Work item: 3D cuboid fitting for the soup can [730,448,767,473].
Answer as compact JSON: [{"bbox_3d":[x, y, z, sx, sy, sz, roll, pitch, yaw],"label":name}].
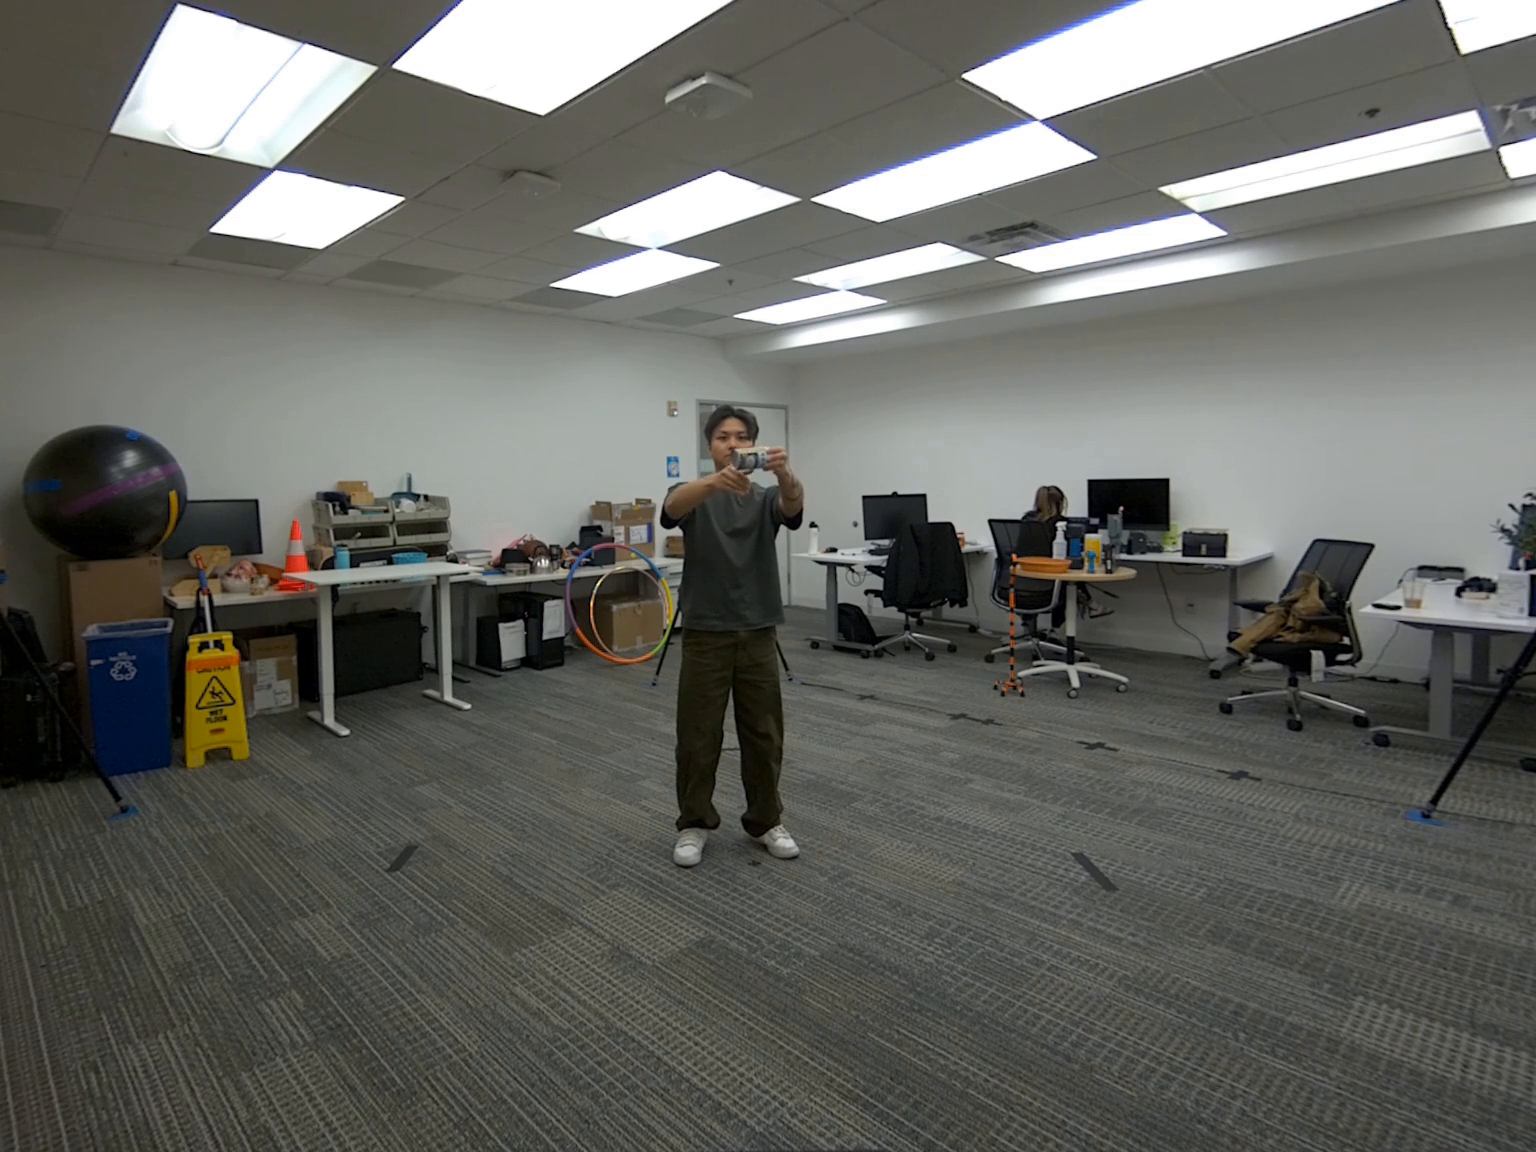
[{"bbox_3d":[-0.050,-0.361,2.627,0.119,0.067,0.068,-4,6,-20],"label":"soup can"}]
